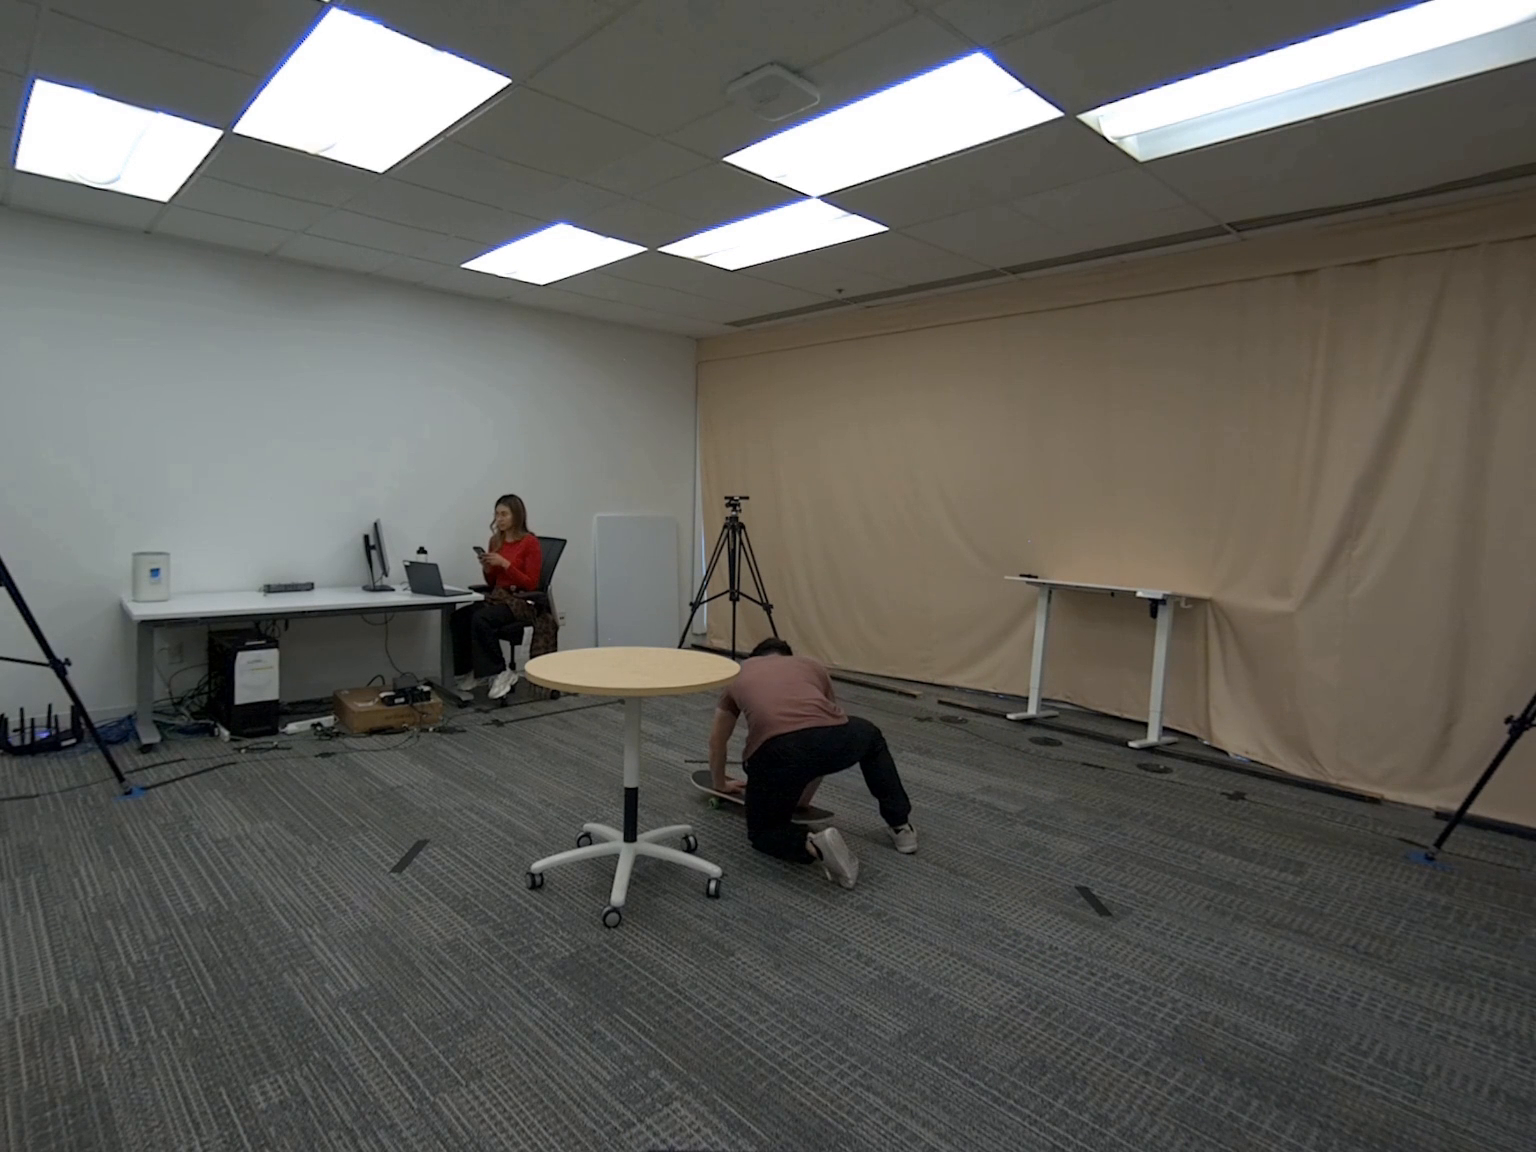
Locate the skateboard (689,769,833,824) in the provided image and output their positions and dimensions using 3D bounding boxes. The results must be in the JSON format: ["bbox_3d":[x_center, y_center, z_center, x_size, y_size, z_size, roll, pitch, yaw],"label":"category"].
[{"bbox_3d":[-0.050,1.000,3.684,0.806,0.110,0.189,7,6,44],"label":"skateboard"}]
